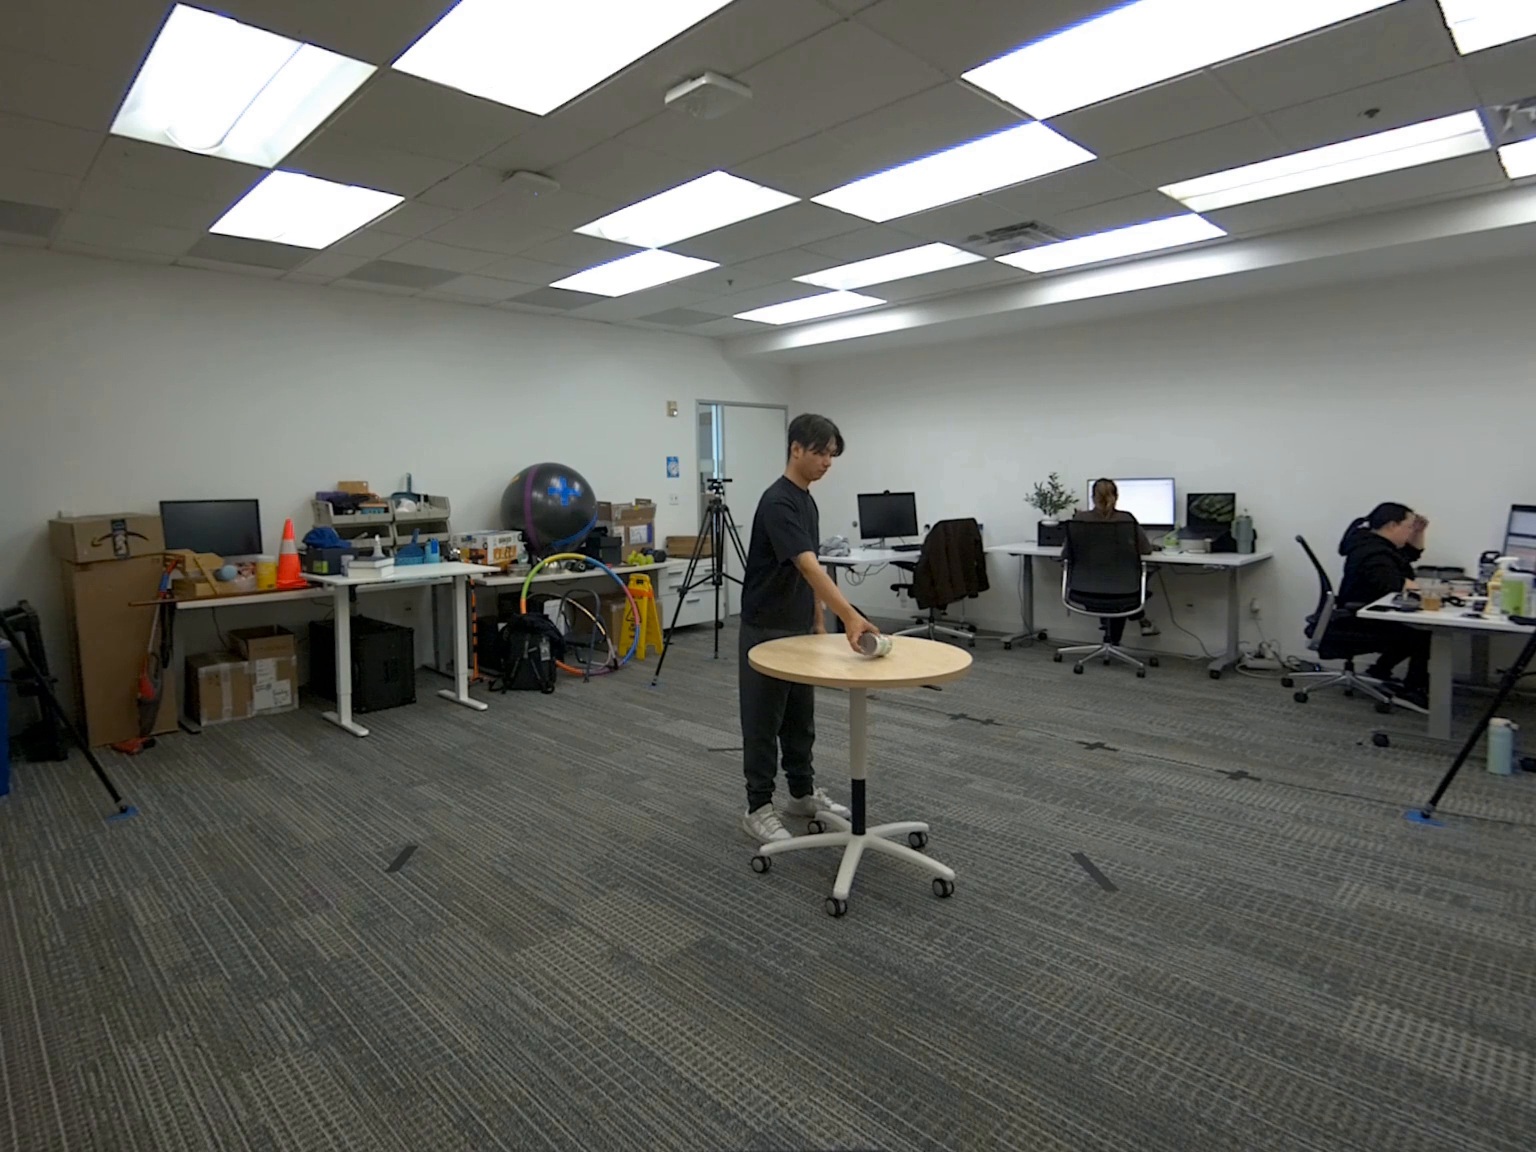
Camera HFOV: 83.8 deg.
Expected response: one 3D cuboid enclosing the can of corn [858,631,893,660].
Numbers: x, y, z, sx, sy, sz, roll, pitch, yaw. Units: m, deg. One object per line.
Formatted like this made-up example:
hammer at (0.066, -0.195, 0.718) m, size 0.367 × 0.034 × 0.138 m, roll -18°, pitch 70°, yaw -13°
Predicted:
can of corn at (0.363, 0.231, 2.901) m, size 0.076 × 0.074 × 0.107 m, roll 3°, pitch -3°, yaw 37°
